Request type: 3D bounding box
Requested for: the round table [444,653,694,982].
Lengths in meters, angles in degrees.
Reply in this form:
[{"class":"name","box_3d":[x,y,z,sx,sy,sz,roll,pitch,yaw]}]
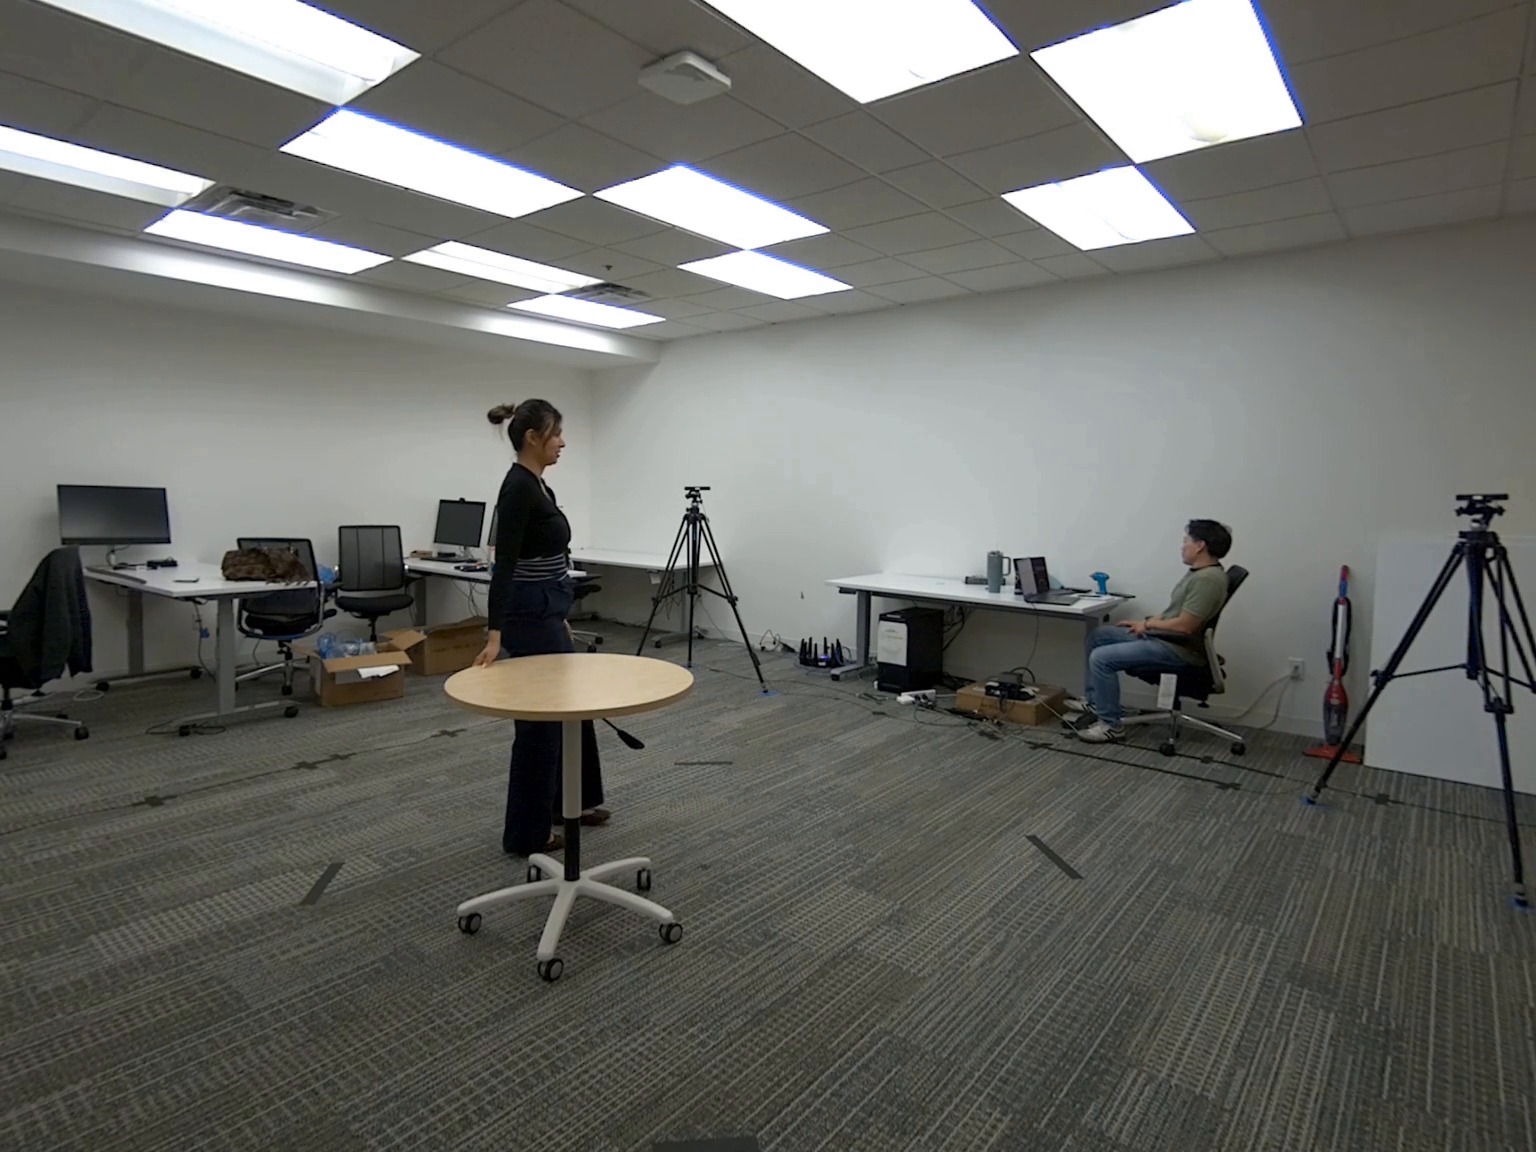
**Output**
[{"class":"round table","box_3d":[-0.624,0.715,2.685,0.763,0.791,0.768,0,4,-2]}]
